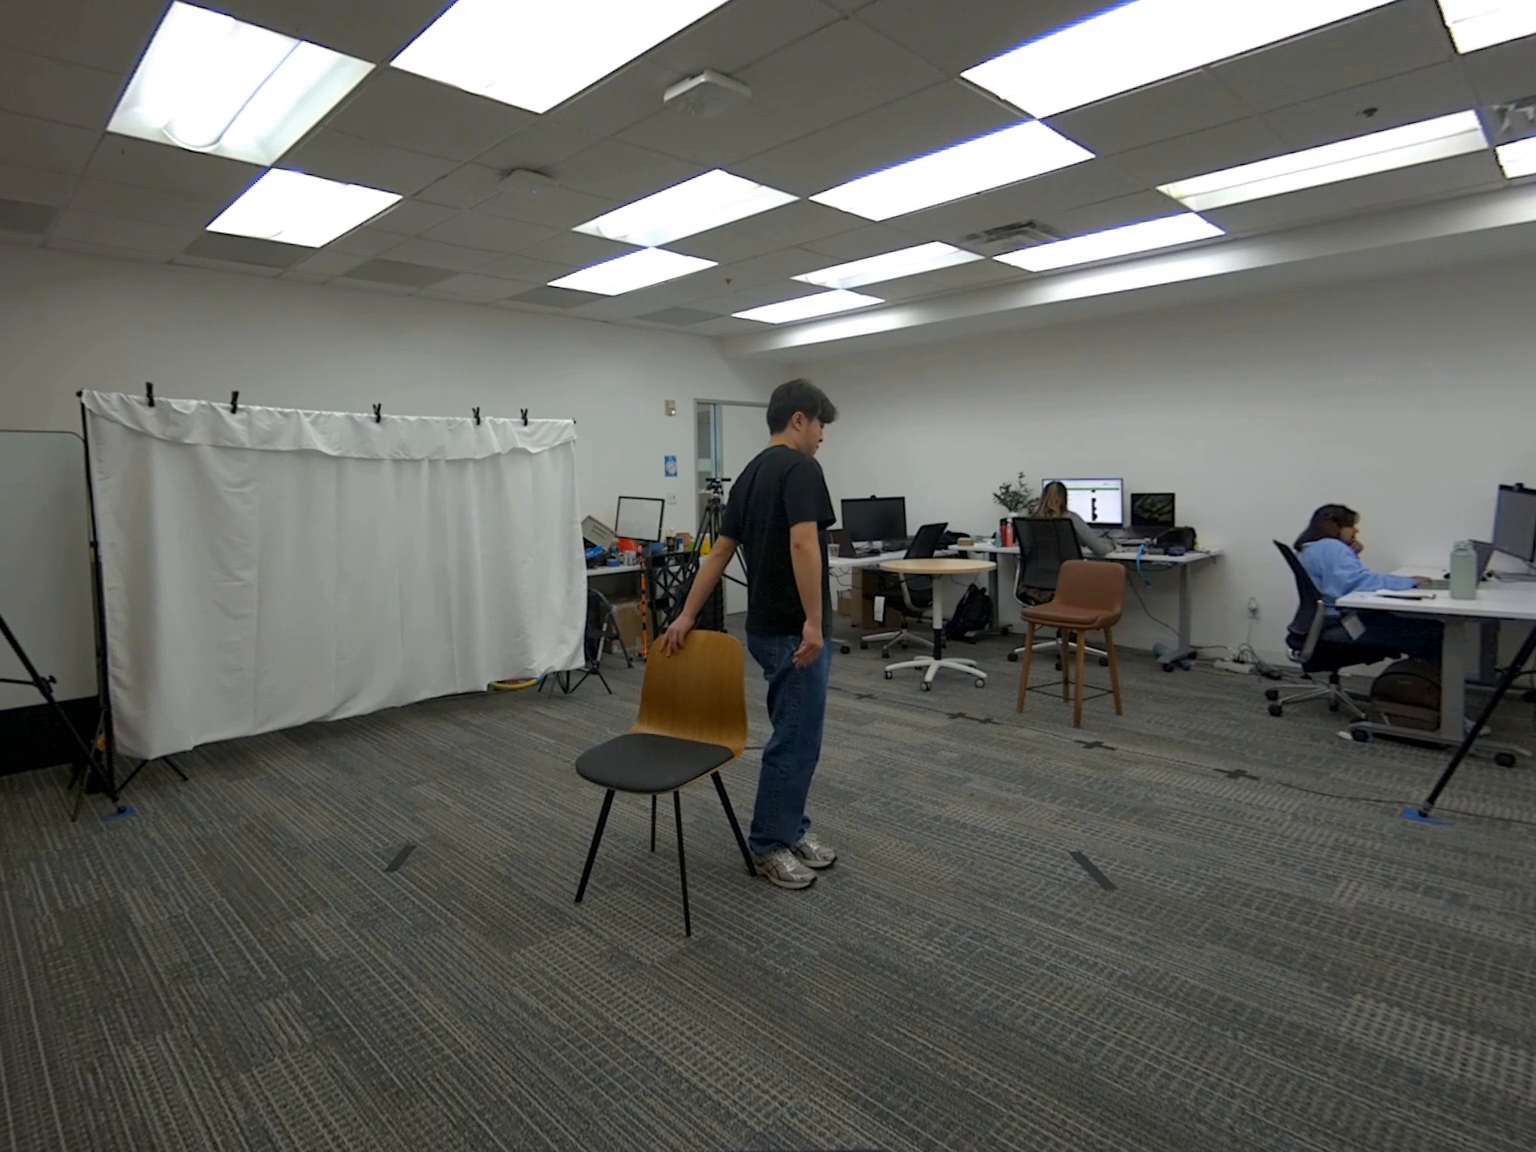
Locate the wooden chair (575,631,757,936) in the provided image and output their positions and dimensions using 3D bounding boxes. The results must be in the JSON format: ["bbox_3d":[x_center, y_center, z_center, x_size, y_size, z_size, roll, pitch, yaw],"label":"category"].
[{"bbox_3d":[-0.344,0.645,2.874,0.490,0.877,0.510,2,1,29],"label":"wooden chair"}]
